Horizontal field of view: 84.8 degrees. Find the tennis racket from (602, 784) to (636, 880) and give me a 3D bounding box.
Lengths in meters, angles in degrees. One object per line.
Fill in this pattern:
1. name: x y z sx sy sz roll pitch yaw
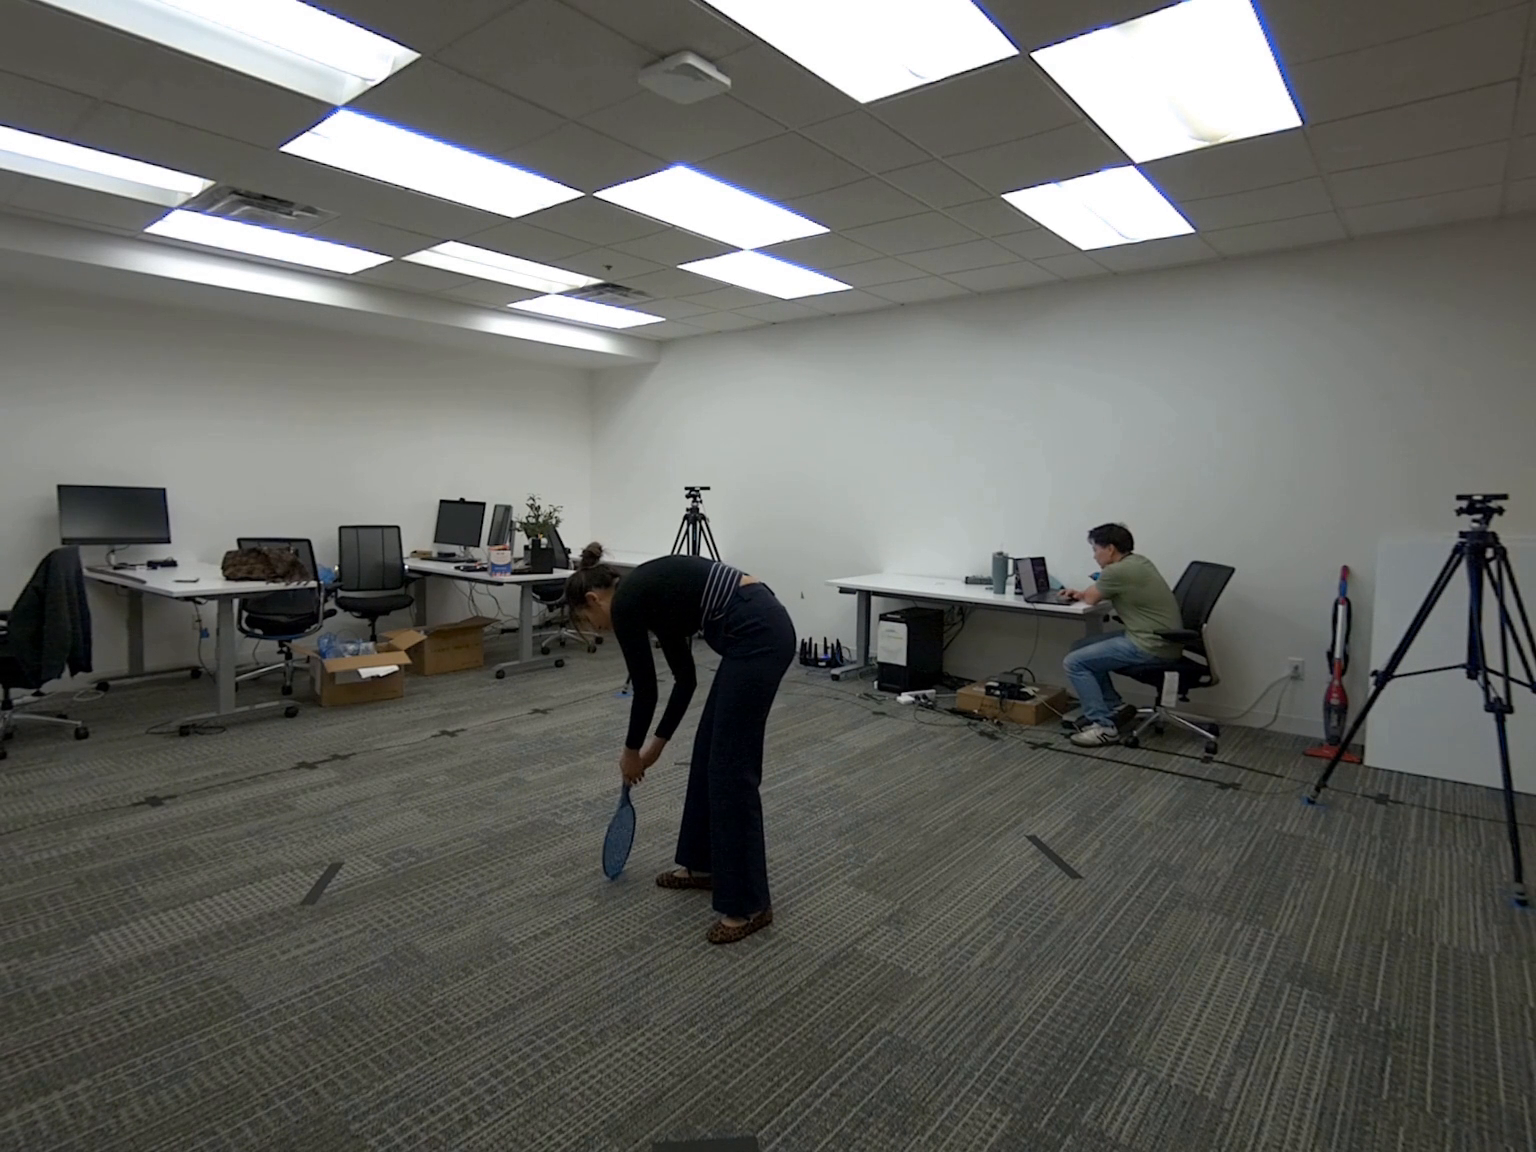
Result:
1. tennis racket: -0.528 0.853 3.022 0.032 0.432 0.211 5 3 12
